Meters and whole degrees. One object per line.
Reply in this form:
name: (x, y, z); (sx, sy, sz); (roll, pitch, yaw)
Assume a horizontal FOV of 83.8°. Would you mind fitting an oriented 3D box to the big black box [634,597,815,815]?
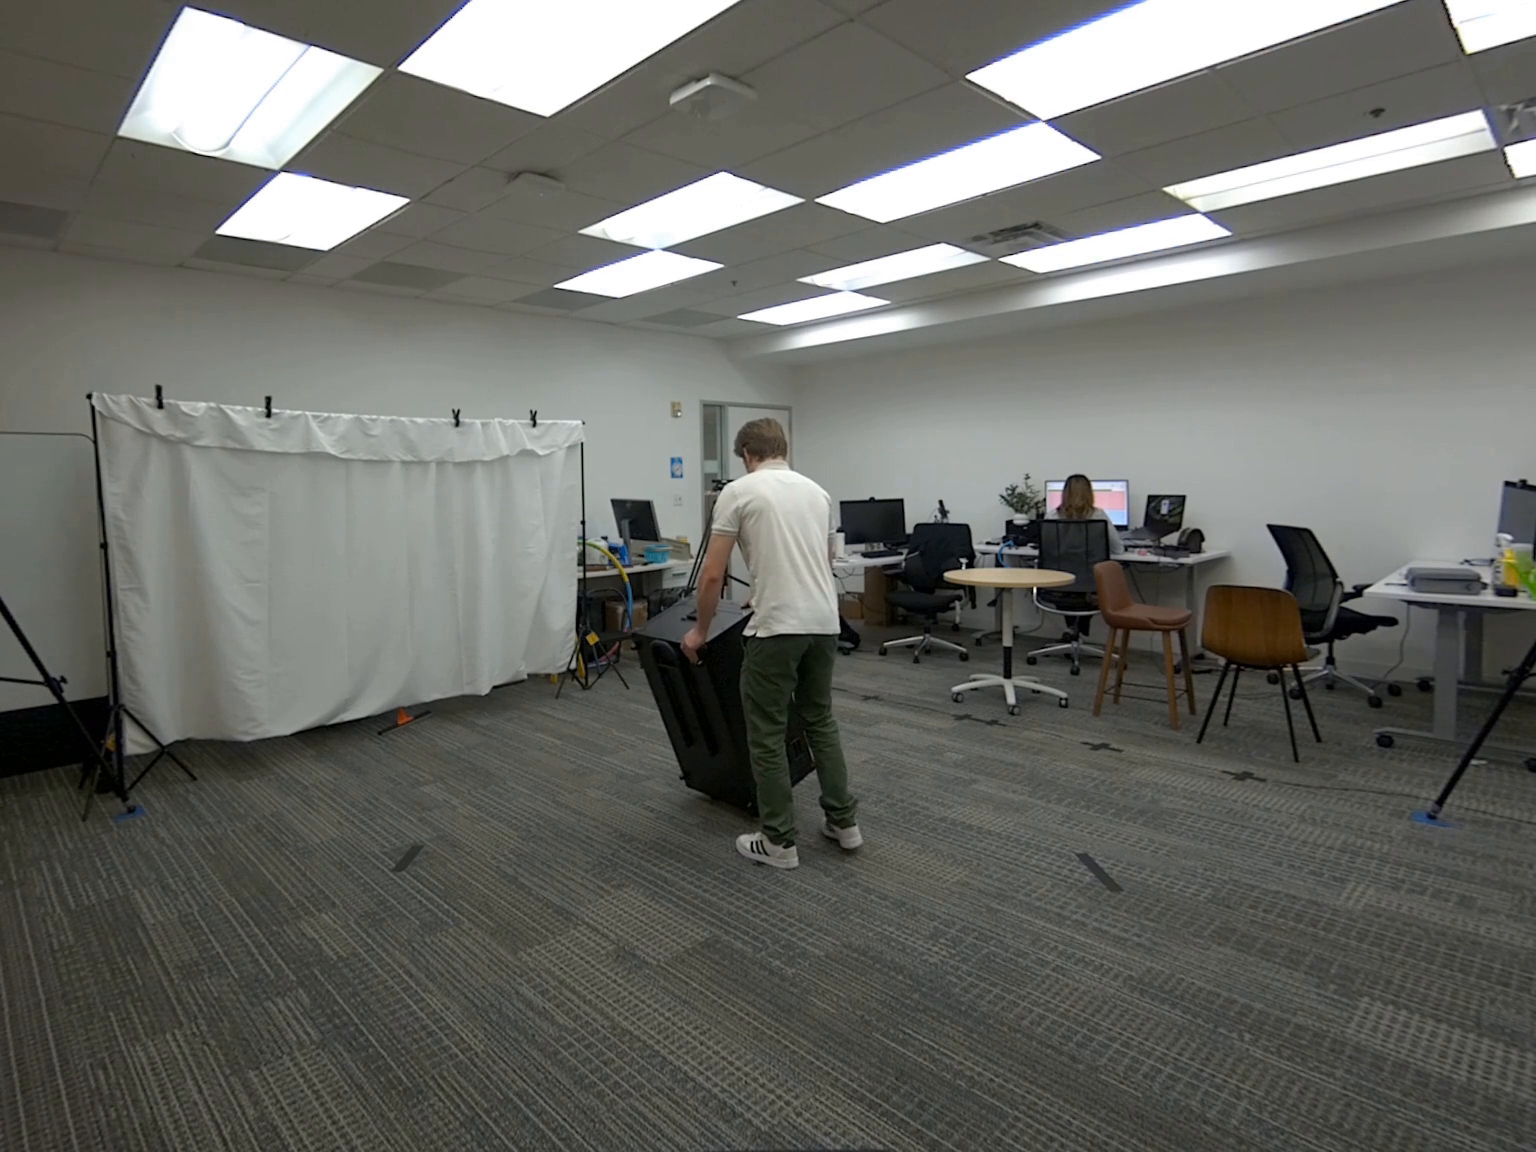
big black box: (-0.188, 0.558, 3.606); (0.392, 0.845, 0.537); (-30, 21, -36)
